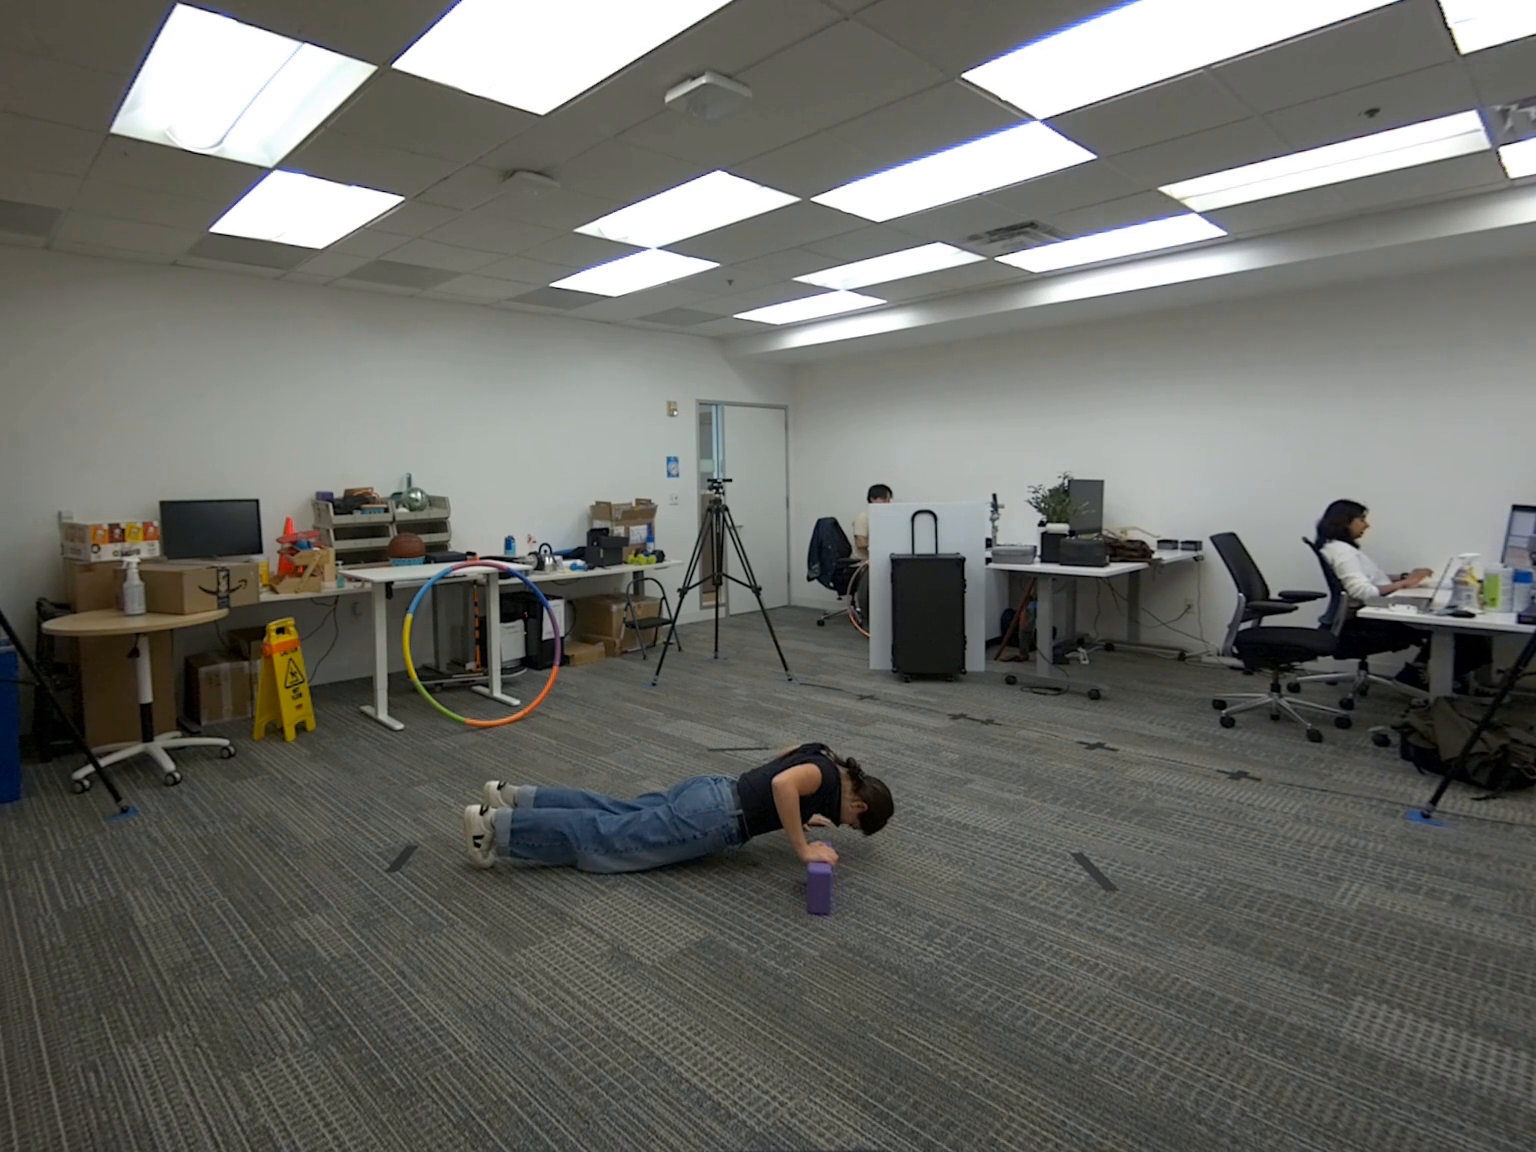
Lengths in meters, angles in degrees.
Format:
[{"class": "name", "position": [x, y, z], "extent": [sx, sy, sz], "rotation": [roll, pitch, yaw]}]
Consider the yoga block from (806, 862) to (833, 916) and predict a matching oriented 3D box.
[{"class": "yoga block", "position": [0.169, 1.007, 2.847], "extent": [0.077, 0.148, 0.228], "rotation": [-1, 4, 5]}]
